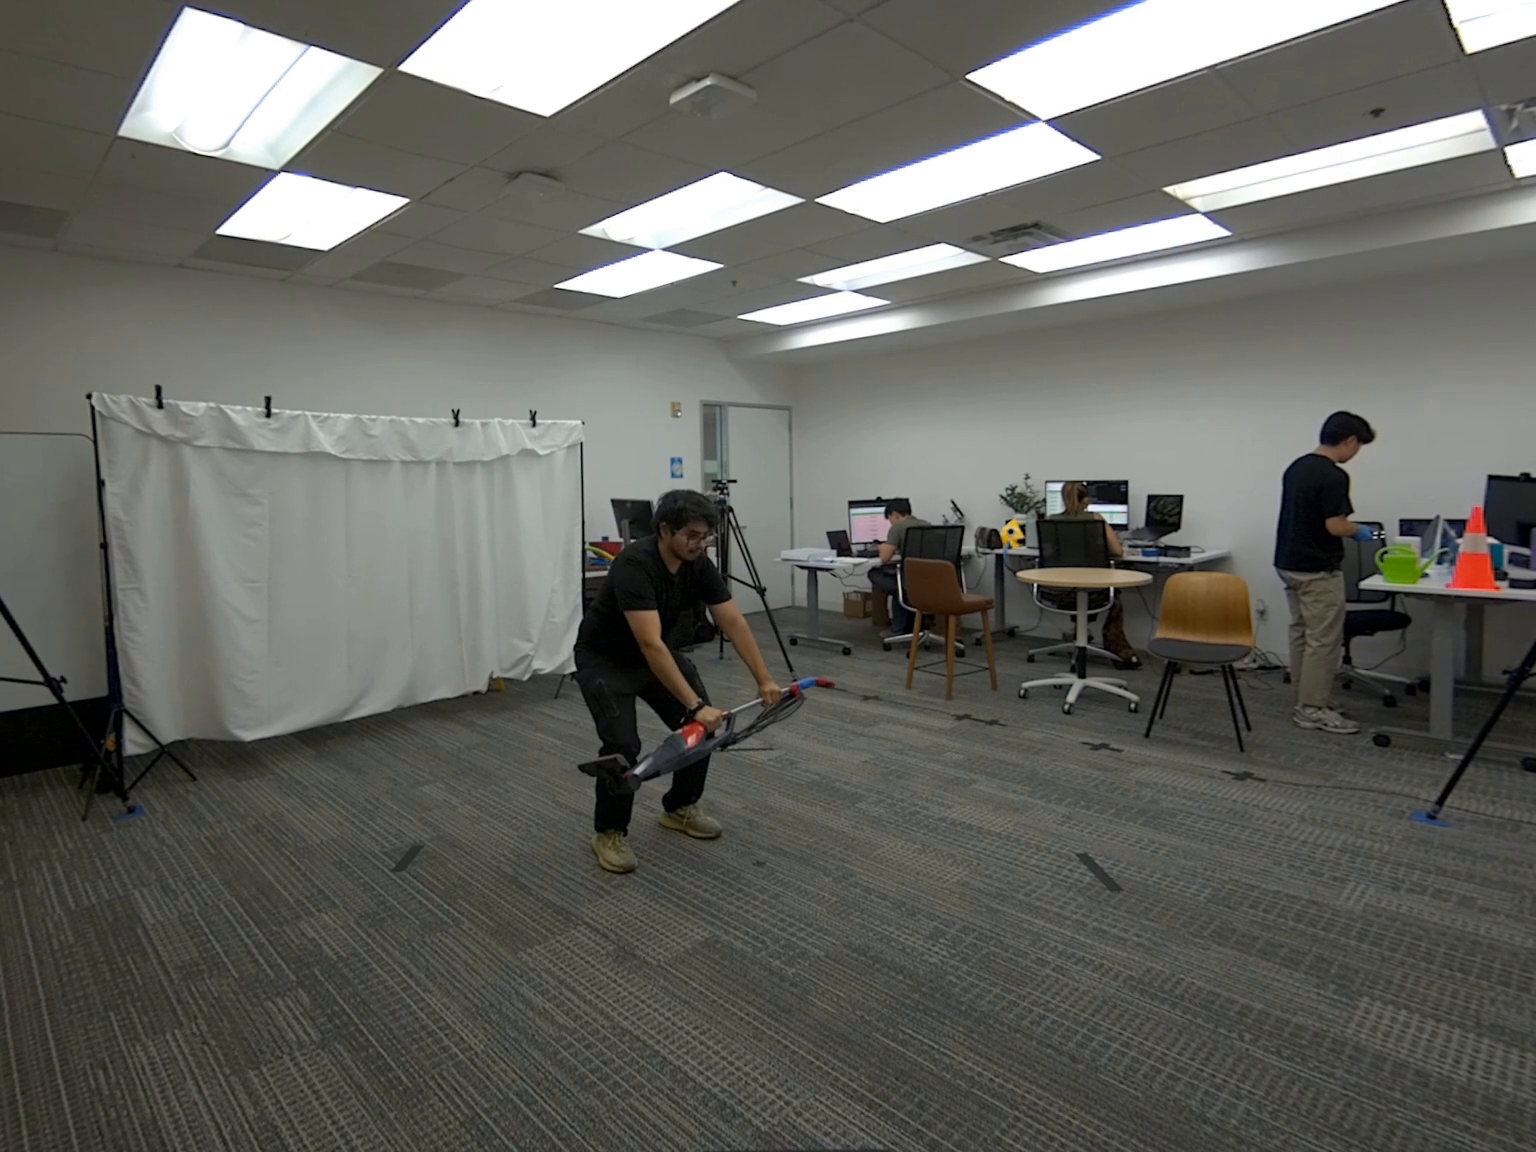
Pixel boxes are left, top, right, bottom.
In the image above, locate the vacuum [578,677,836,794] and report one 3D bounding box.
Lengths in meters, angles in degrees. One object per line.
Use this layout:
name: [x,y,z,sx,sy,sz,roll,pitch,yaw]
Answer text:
vacuum: [-0.111,0.518,2.972,1.026,0.145,0.256,-14,-5,-40]
